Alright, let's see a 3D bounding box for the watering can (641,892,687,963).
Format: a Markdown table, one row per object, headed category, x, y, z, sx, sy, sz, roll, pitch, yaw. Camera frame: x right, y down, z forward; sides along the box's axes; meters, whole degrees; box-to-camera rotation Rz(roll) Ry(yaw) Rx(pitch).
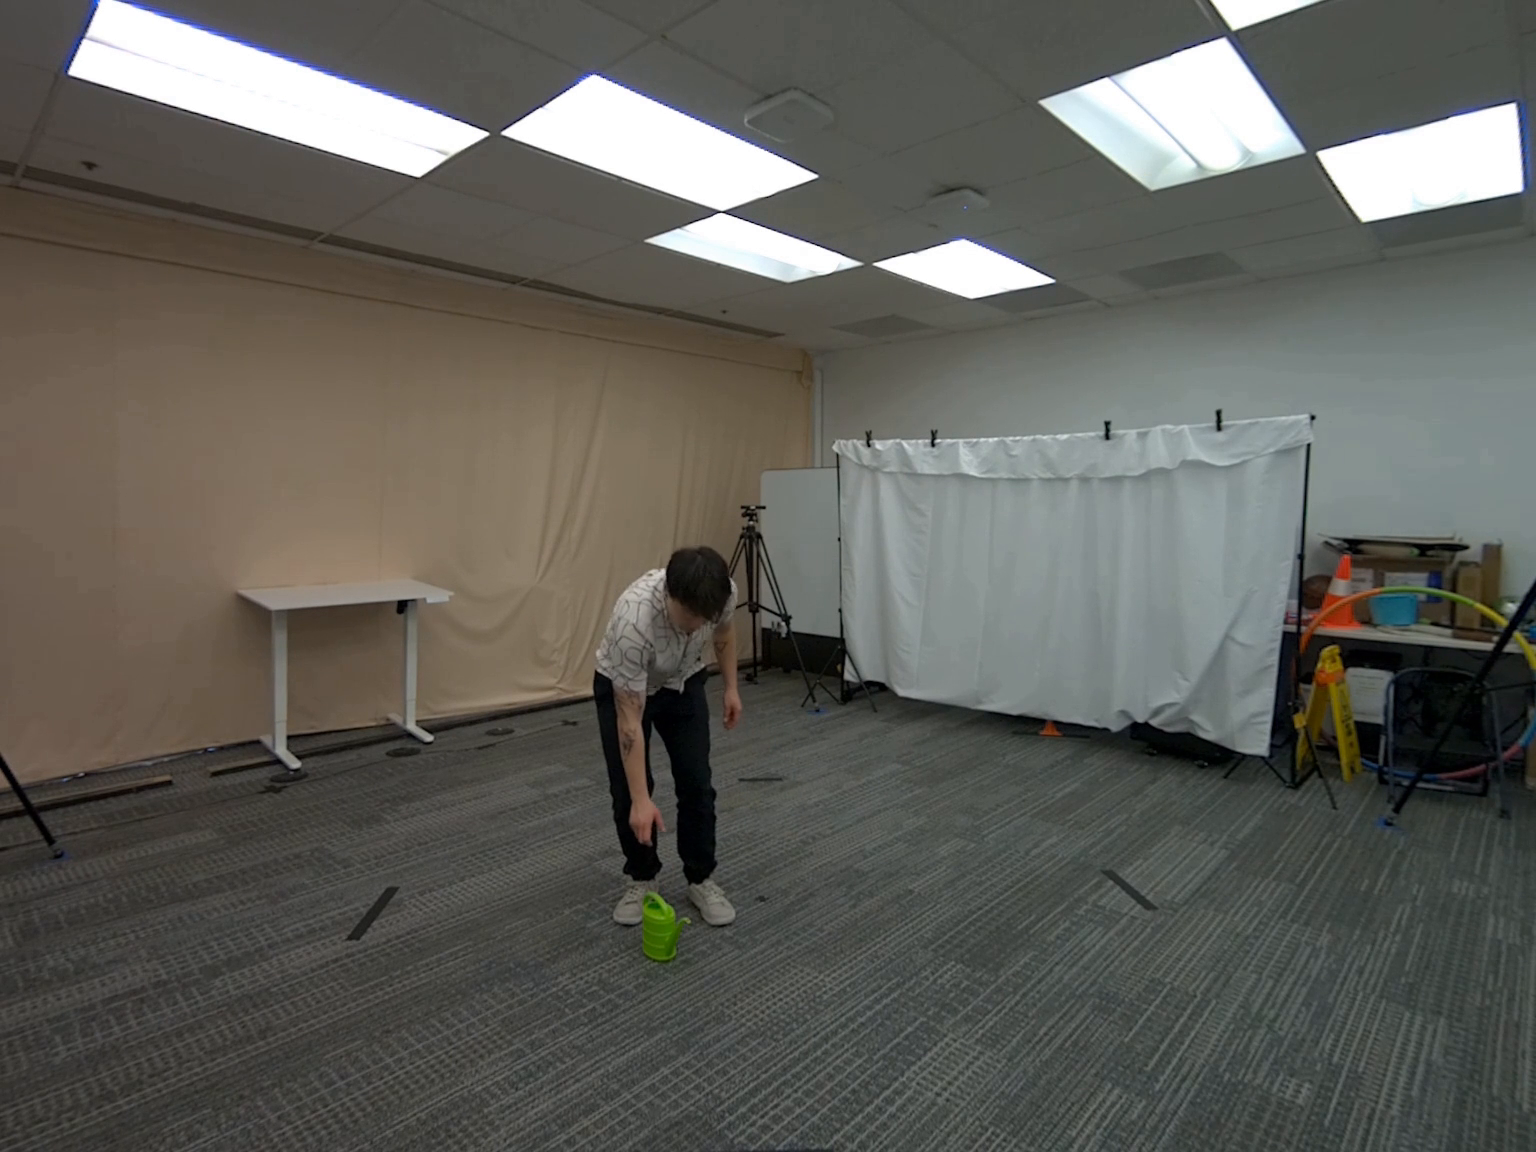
| category | x | y | z | sx | sy | sz | roll | pitch | yaw |
| --- | --- | --- | --- | --- | --- | --- | --- | --- | --- |
| watering can | -0.323 | 1.082 | 2.592 | 0.096 | 0.176 | 0.284 | -1 | 4 | -18 |
